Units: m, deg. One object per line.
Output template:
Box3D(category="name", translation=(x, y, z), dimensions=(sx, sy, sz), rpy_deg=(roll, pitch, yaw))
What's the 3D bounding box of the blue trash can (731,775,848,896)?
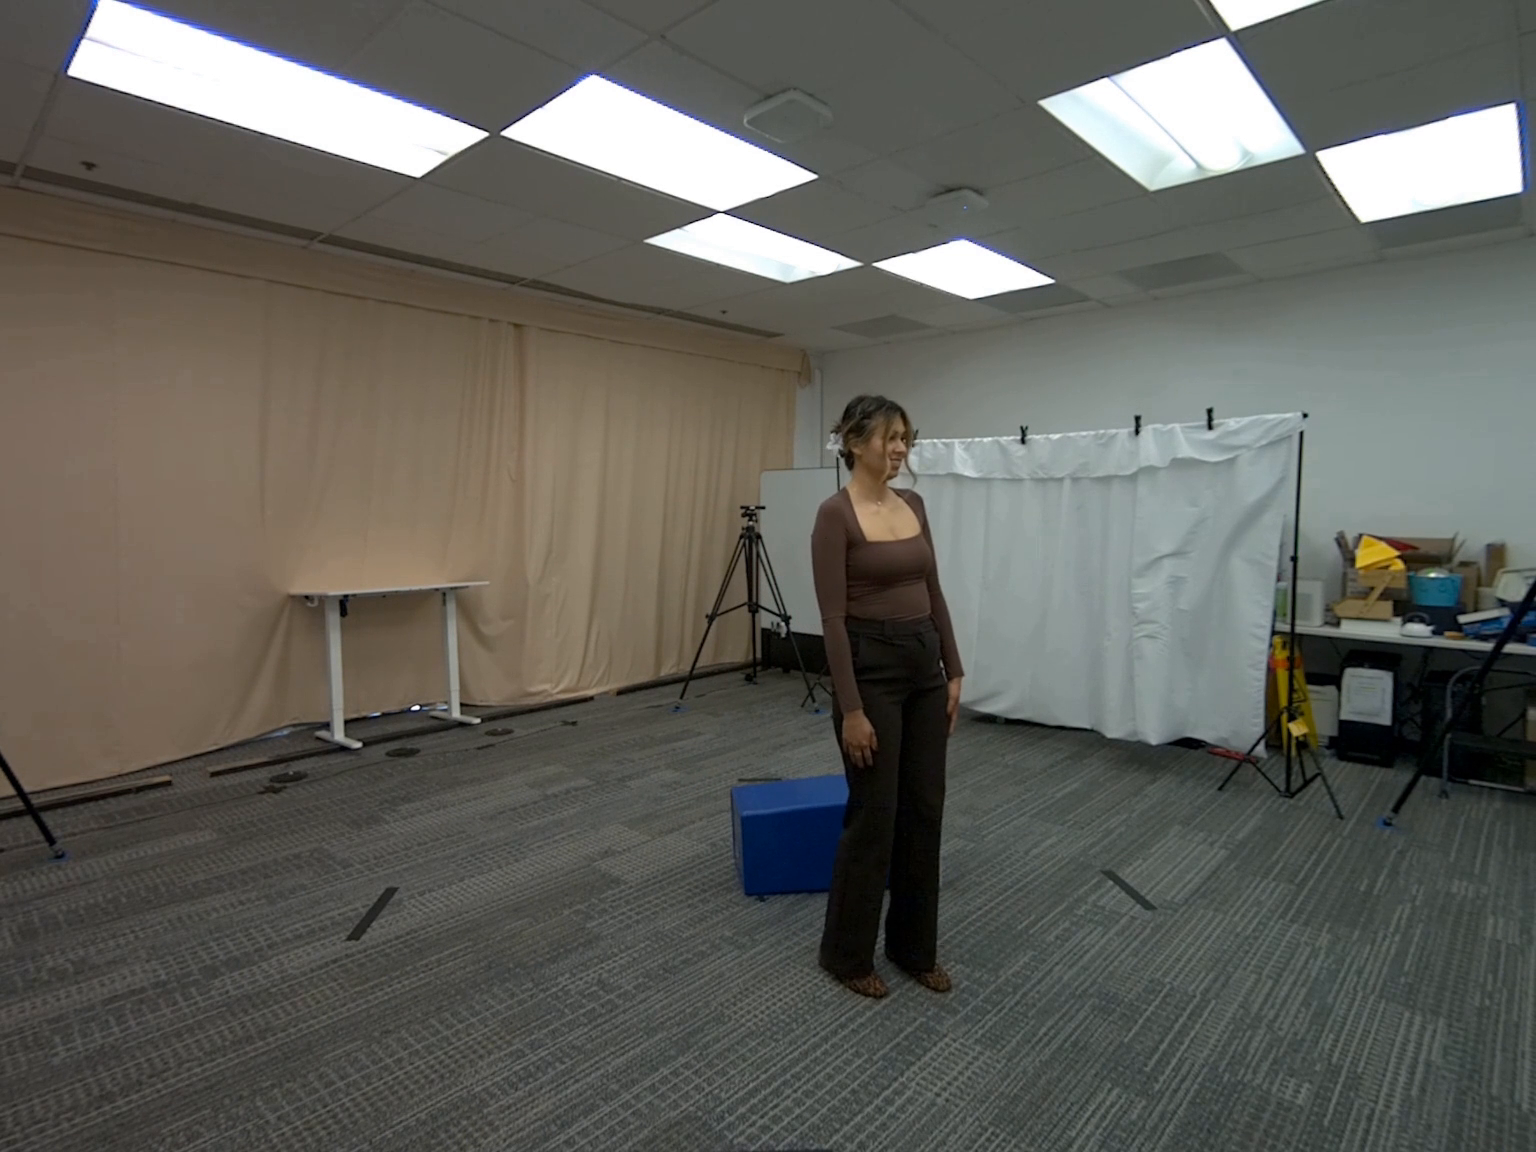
Box3D(category="blue trash can", translation=(0.241, 0.966, 3.168), dimensions=(0.708, 0.377, 0.378), rpy_deg=(-3, 5, -8))
